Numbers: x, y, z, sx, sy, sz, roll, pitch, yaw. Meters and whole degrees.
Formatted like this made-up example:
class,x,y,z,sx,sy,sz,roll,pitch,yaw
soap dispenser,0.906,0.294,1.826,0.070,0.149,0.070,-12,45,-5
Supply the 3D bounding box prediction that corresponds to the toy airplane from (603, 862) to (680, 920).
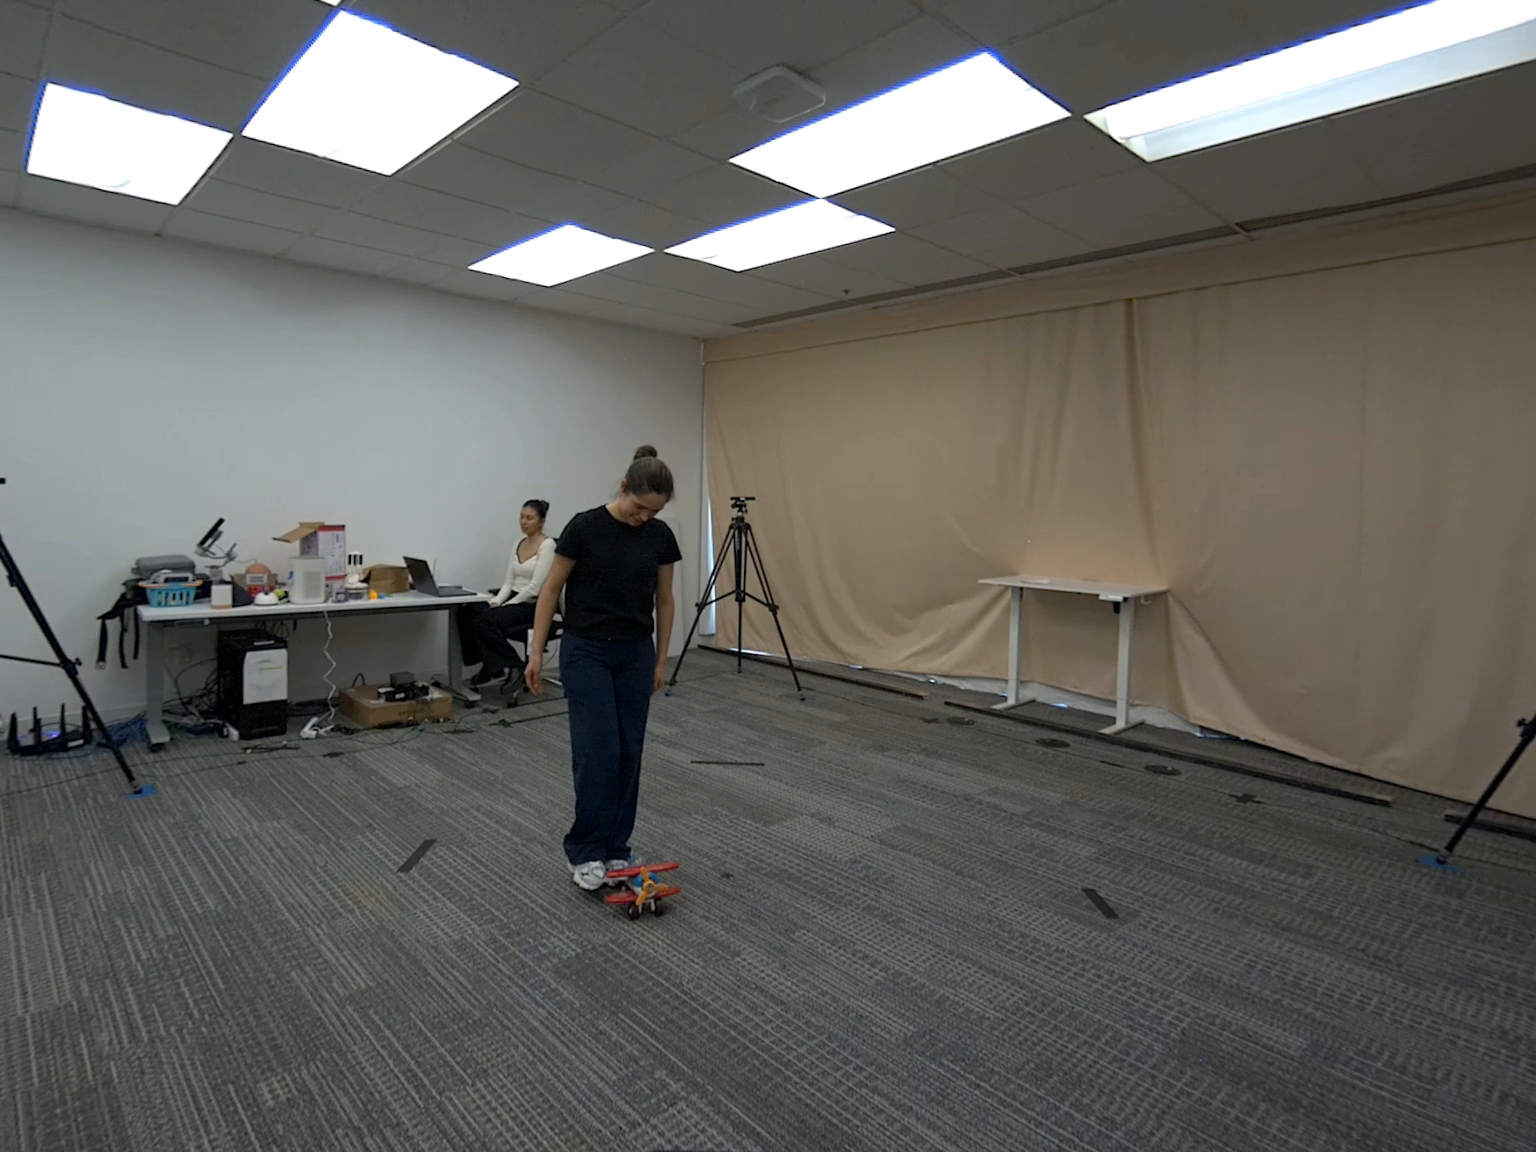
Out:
class,x,y,z,sx,sy,sz,roll,pitch,yaw
toy airplane,-0.457,1.053,2.840,0.266,0.156,0.246,8,9,41
